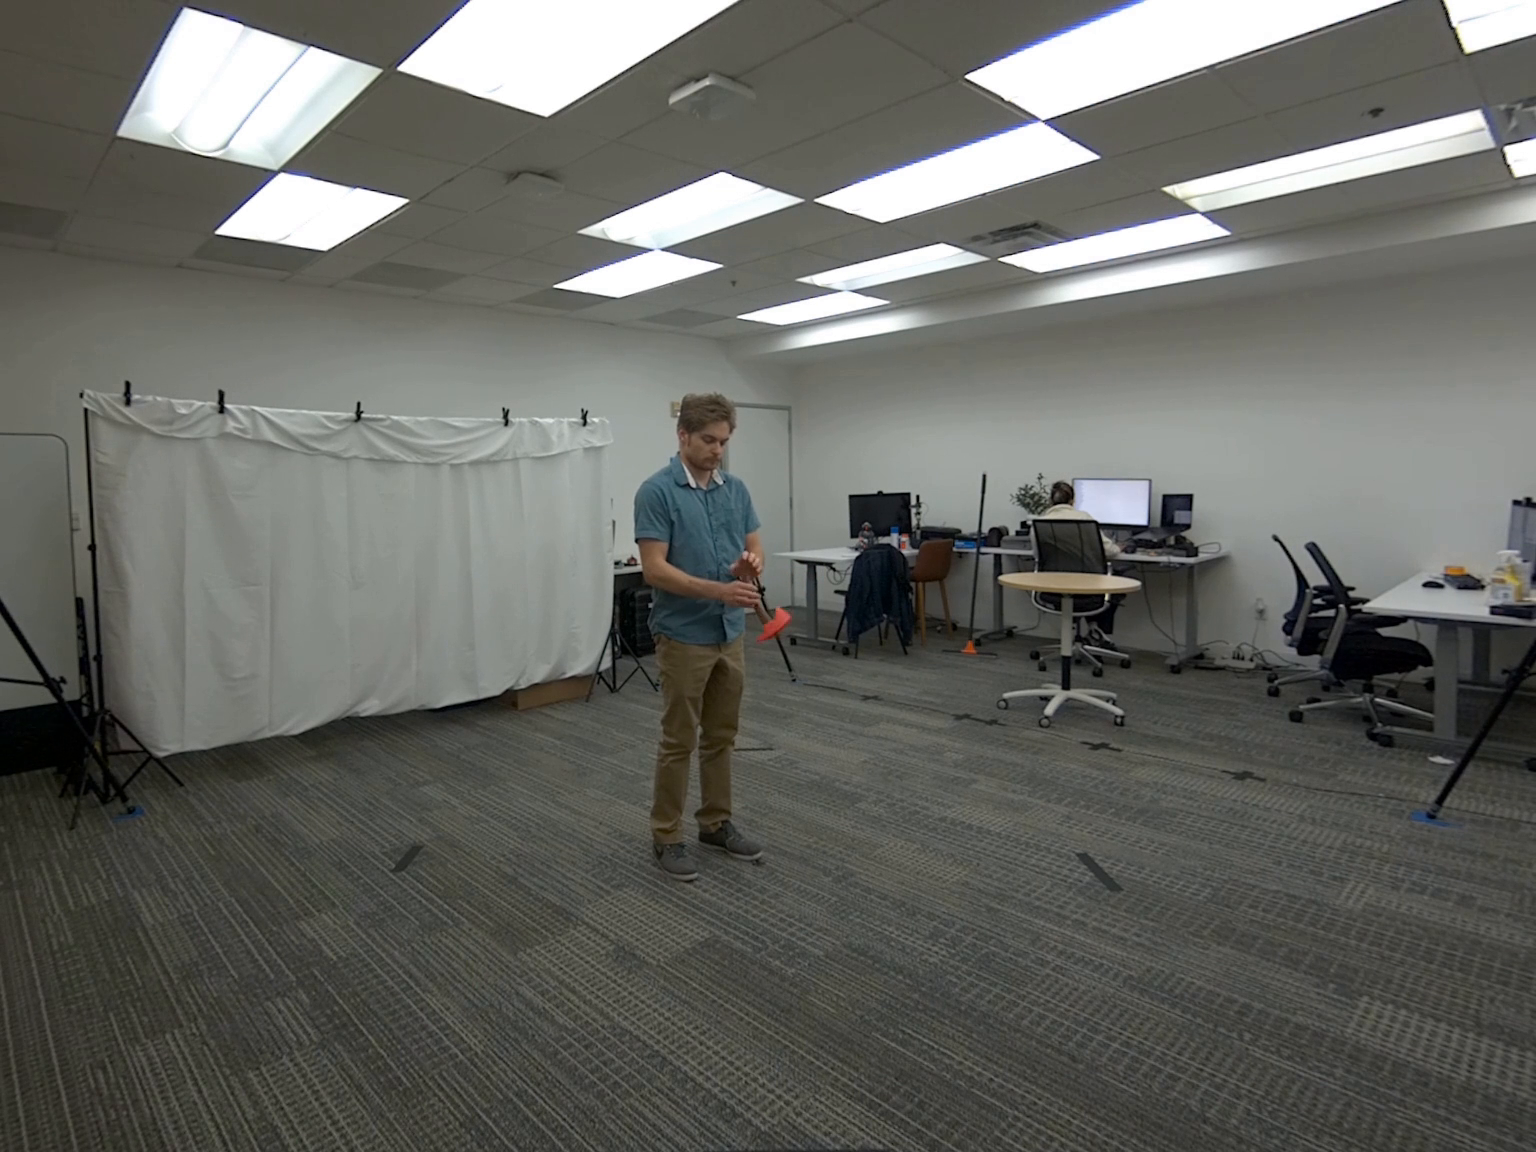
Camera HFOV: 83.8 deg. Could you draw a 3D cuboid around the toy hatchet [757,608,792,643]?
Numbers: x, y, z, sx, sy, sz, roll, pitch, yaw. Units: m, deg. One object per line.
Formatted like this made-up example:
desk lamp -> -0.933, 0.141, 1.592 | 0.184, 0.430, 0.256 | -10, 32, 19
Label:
toy hatchet -> -0.004, 0.075, 2.769 | 0.132, 0.278, 0.028 | -22, -31, 18
